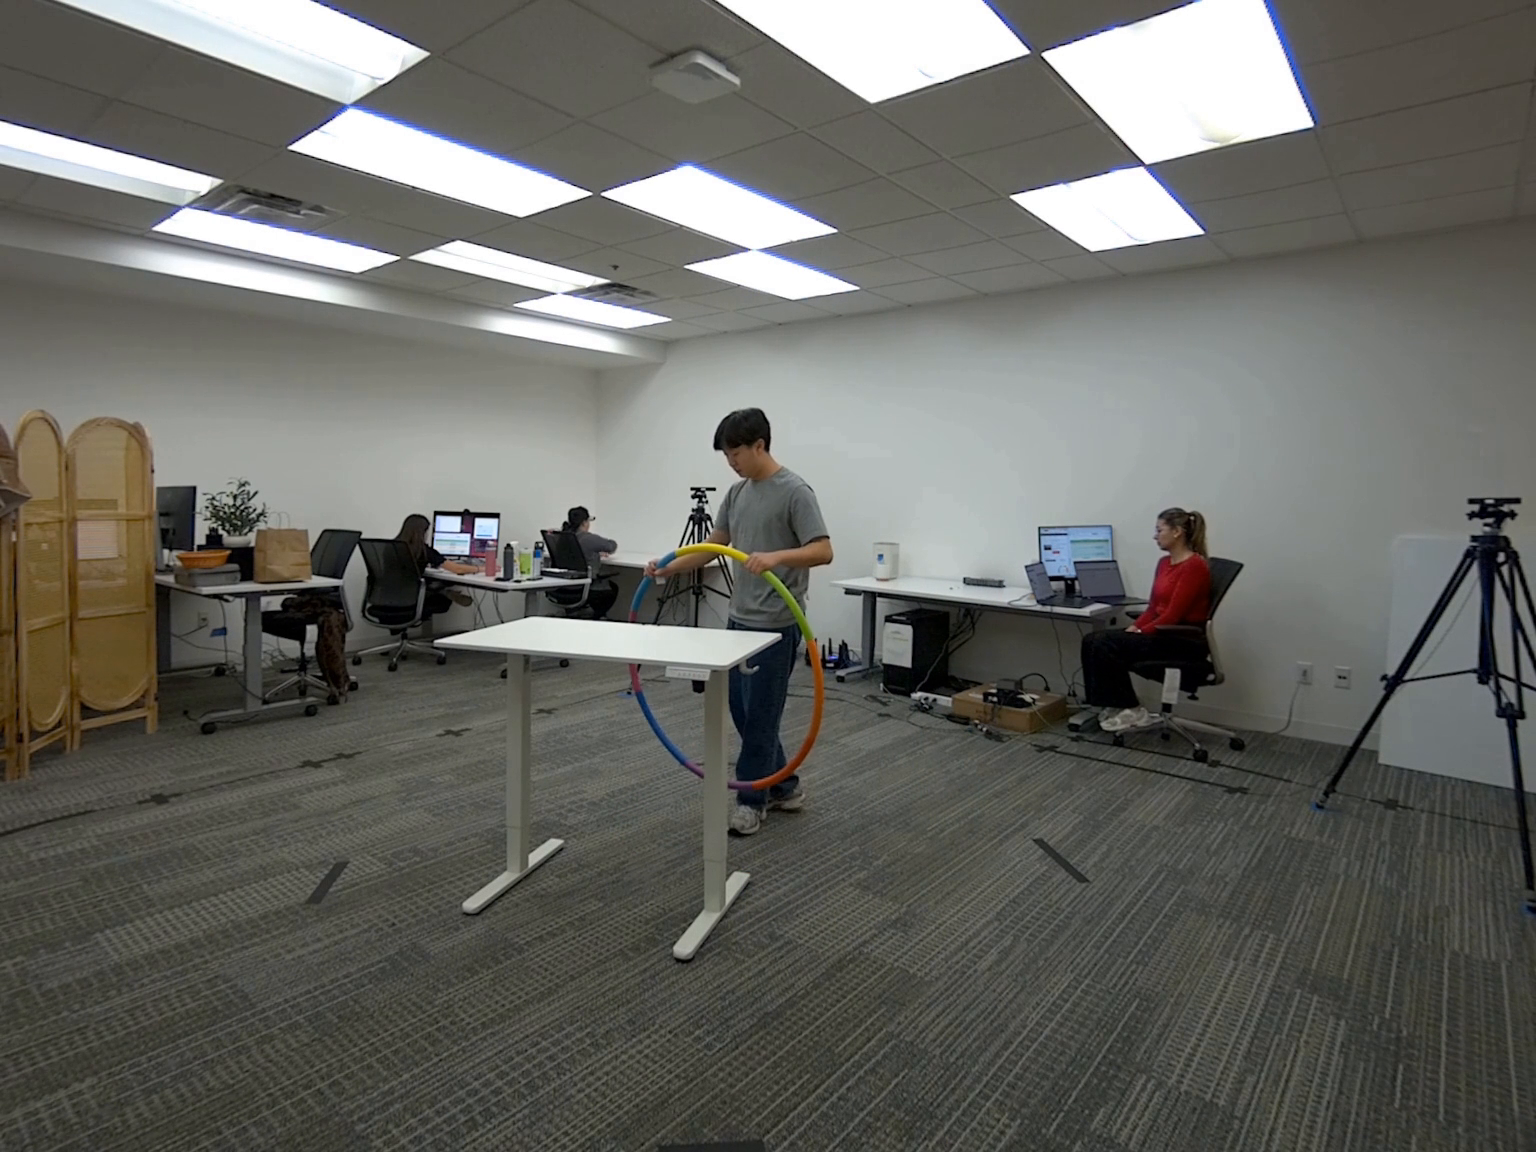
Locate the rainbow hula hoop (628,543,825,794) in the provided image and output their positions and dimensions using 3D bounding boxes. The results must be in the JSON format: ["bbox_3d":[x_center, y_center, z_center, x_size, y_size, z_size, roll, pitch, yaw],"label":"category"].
[{"bbox_3d":[-0.215,0.362,3.375,1.011,0.970,0.035,4,10,37],"label":"rainbow hula hoop"}]
